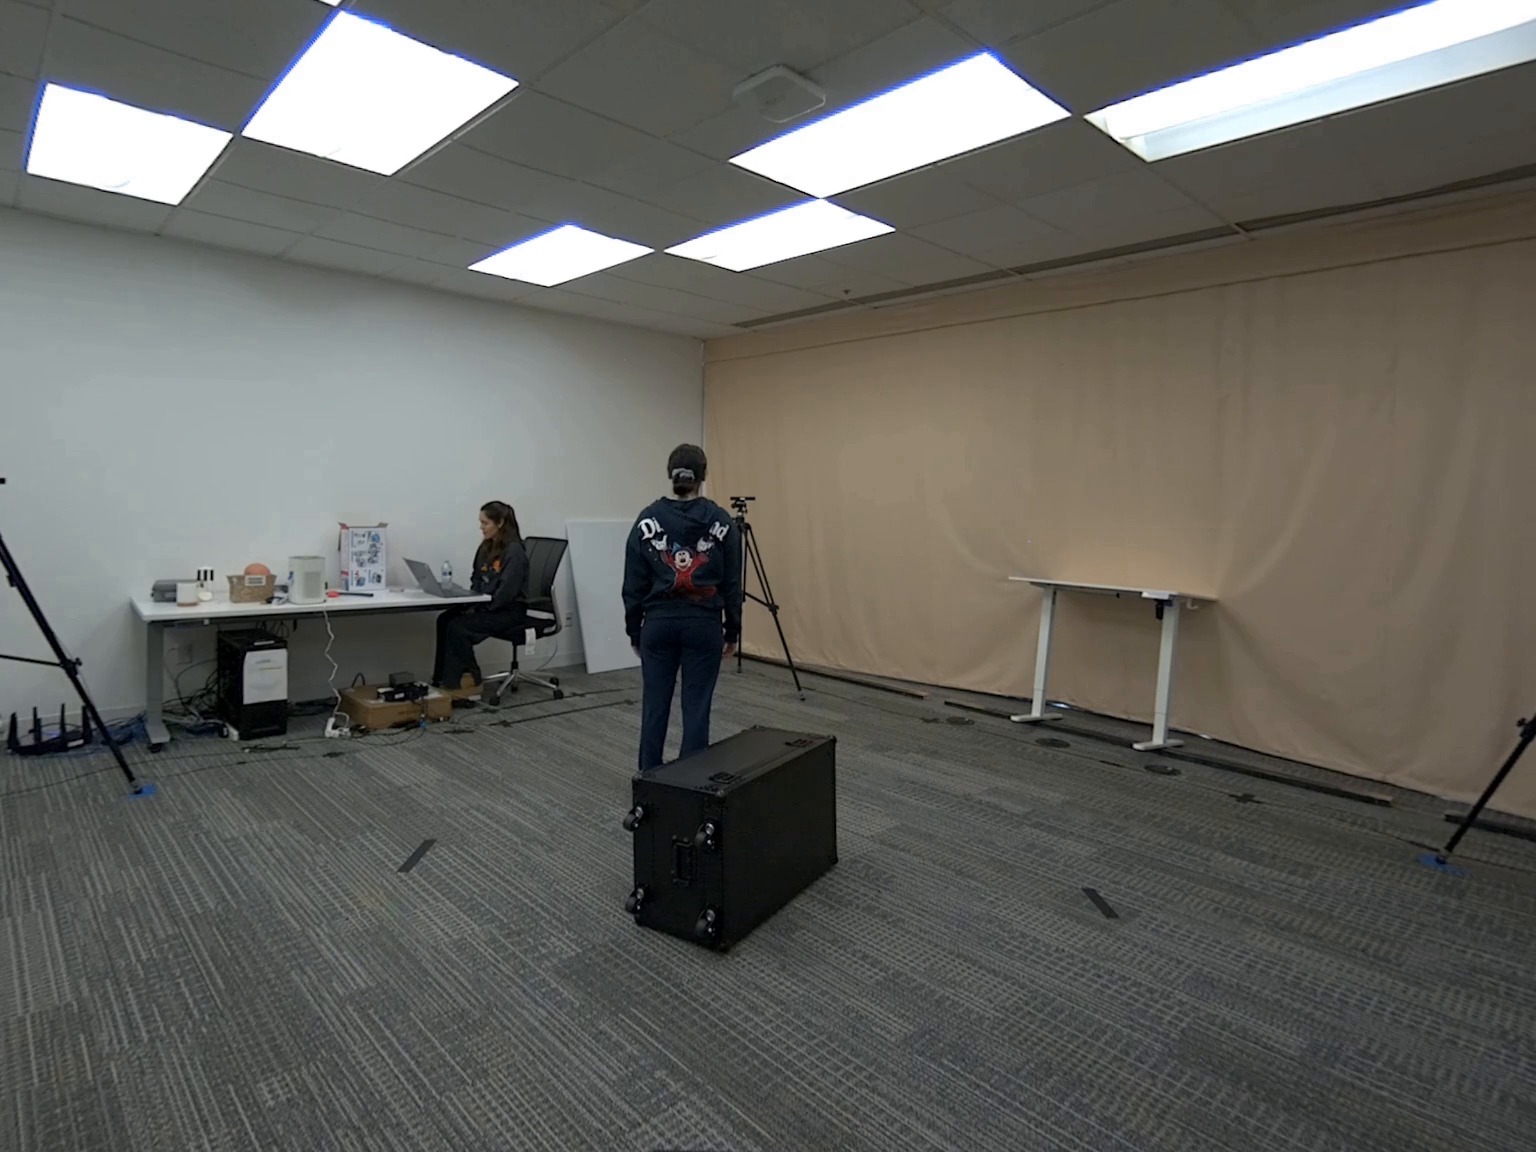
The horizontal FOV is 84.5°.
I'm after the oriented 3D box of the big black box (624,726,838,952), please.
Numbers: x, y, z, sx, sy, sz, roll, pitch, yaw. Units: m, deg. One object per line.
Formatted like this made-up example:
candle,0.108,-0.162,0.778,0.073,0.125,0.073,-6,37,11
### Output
big black box,-0.120,0.865,2.941,0.404,0.520,0.845,0,3,30
